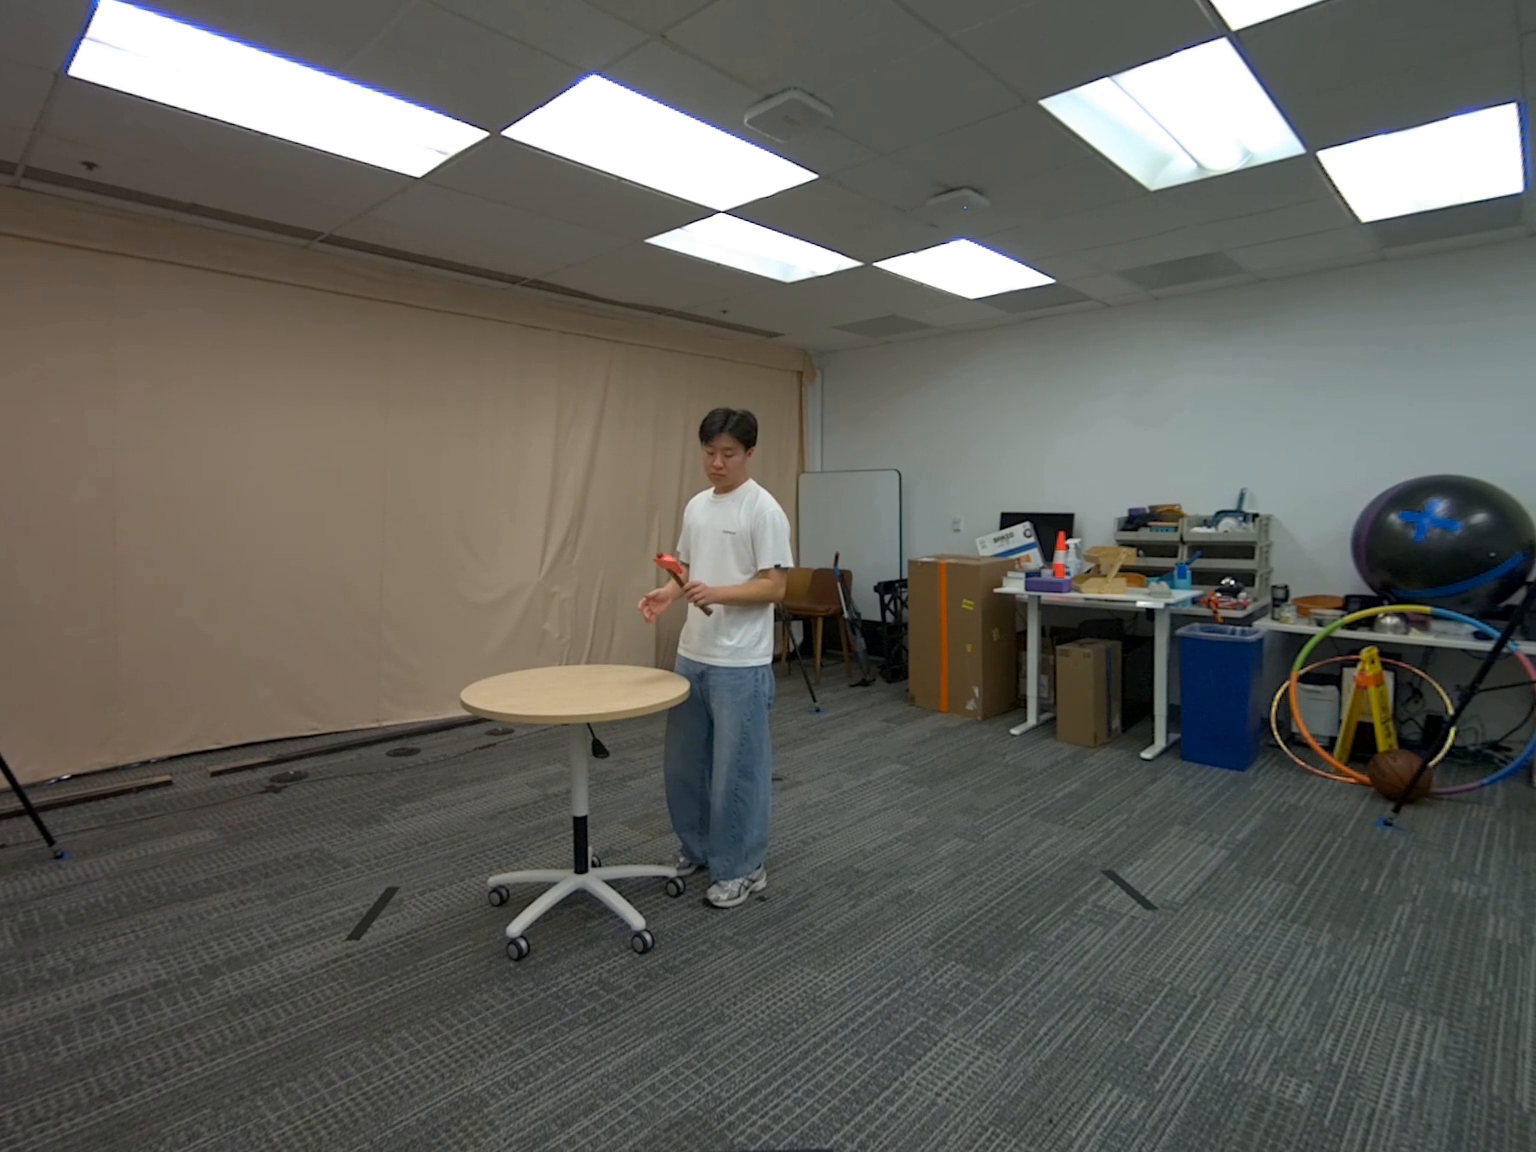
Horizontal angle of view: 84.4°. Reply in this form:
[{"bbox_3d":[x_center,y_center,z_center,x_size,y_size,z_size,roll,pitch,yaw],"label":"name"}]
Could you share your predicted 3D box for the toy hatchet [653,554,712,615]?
[{"bbox_3d":[-0.264,0.024,2.704,0.029,0.267,0.133,-49,12,-26],"label":"toy hatchet"}]
